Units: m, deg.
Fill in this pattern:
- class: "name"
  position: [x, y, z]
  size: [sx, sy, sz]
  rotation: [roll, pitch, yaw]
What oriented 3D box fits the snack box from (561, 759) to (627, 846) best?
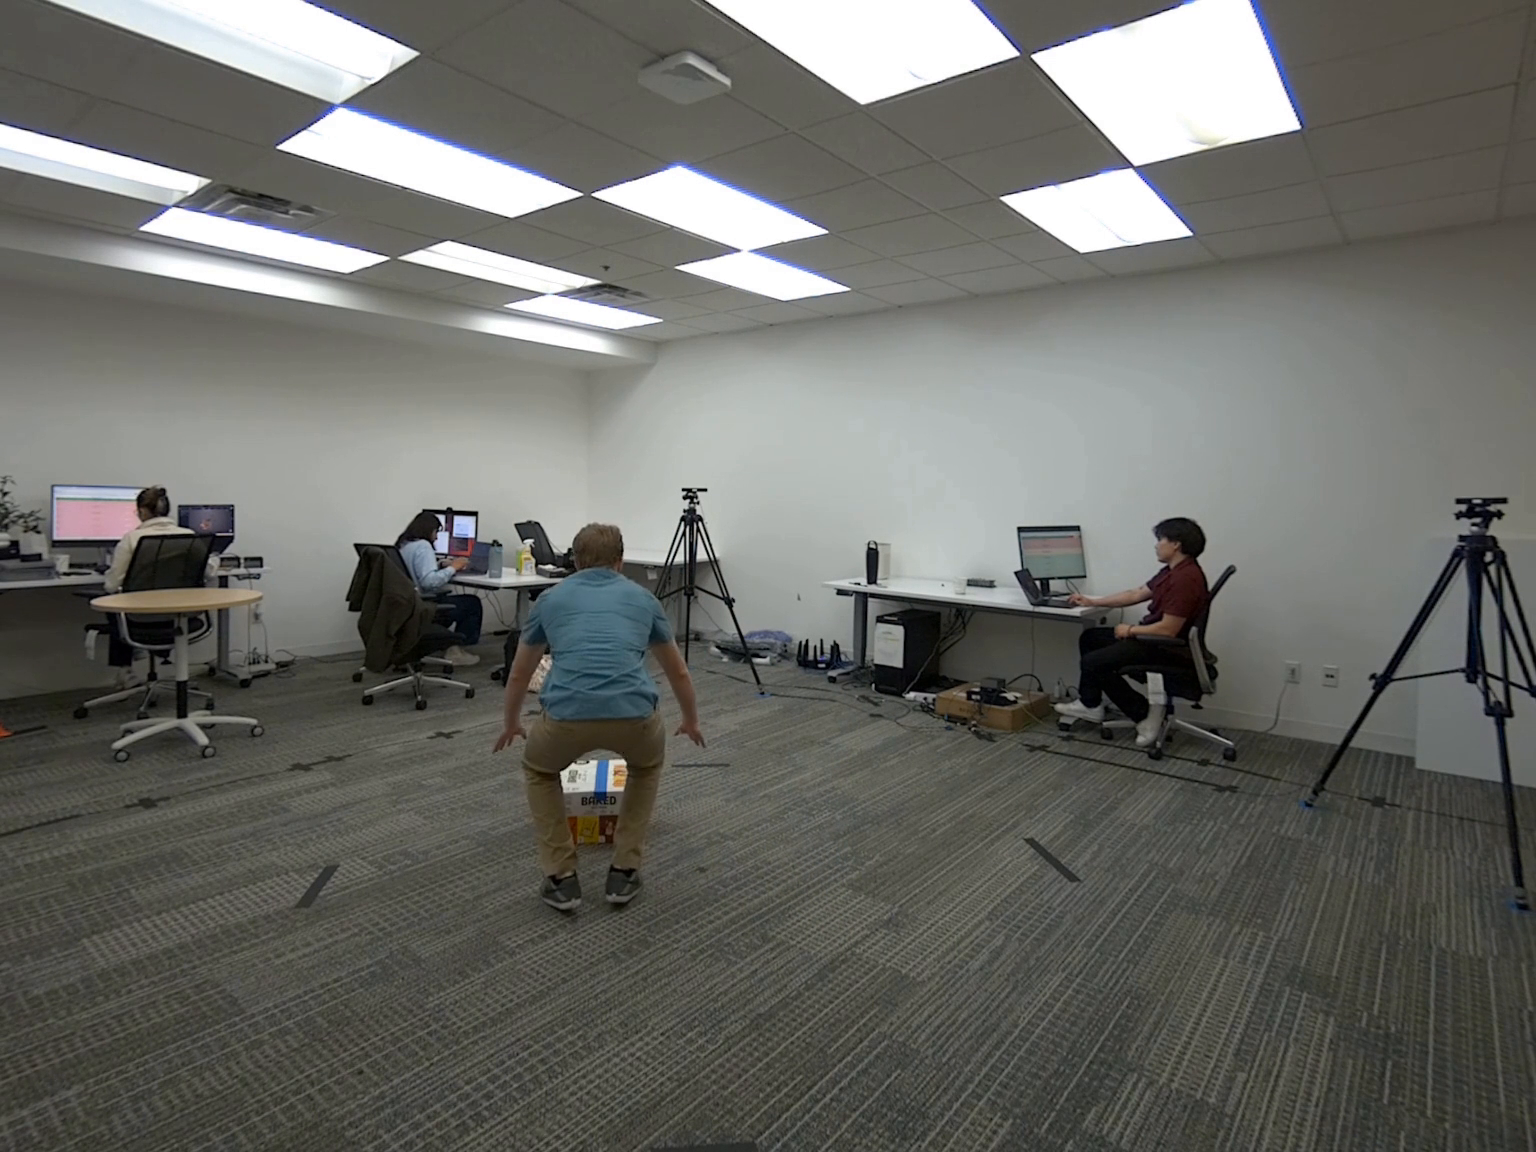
- class: "snack box"
  position: [-0.710, 0.926, 3.526]
  size: [0.338, 0.205, 0.410]
  rotation: [0, 5, -8]
